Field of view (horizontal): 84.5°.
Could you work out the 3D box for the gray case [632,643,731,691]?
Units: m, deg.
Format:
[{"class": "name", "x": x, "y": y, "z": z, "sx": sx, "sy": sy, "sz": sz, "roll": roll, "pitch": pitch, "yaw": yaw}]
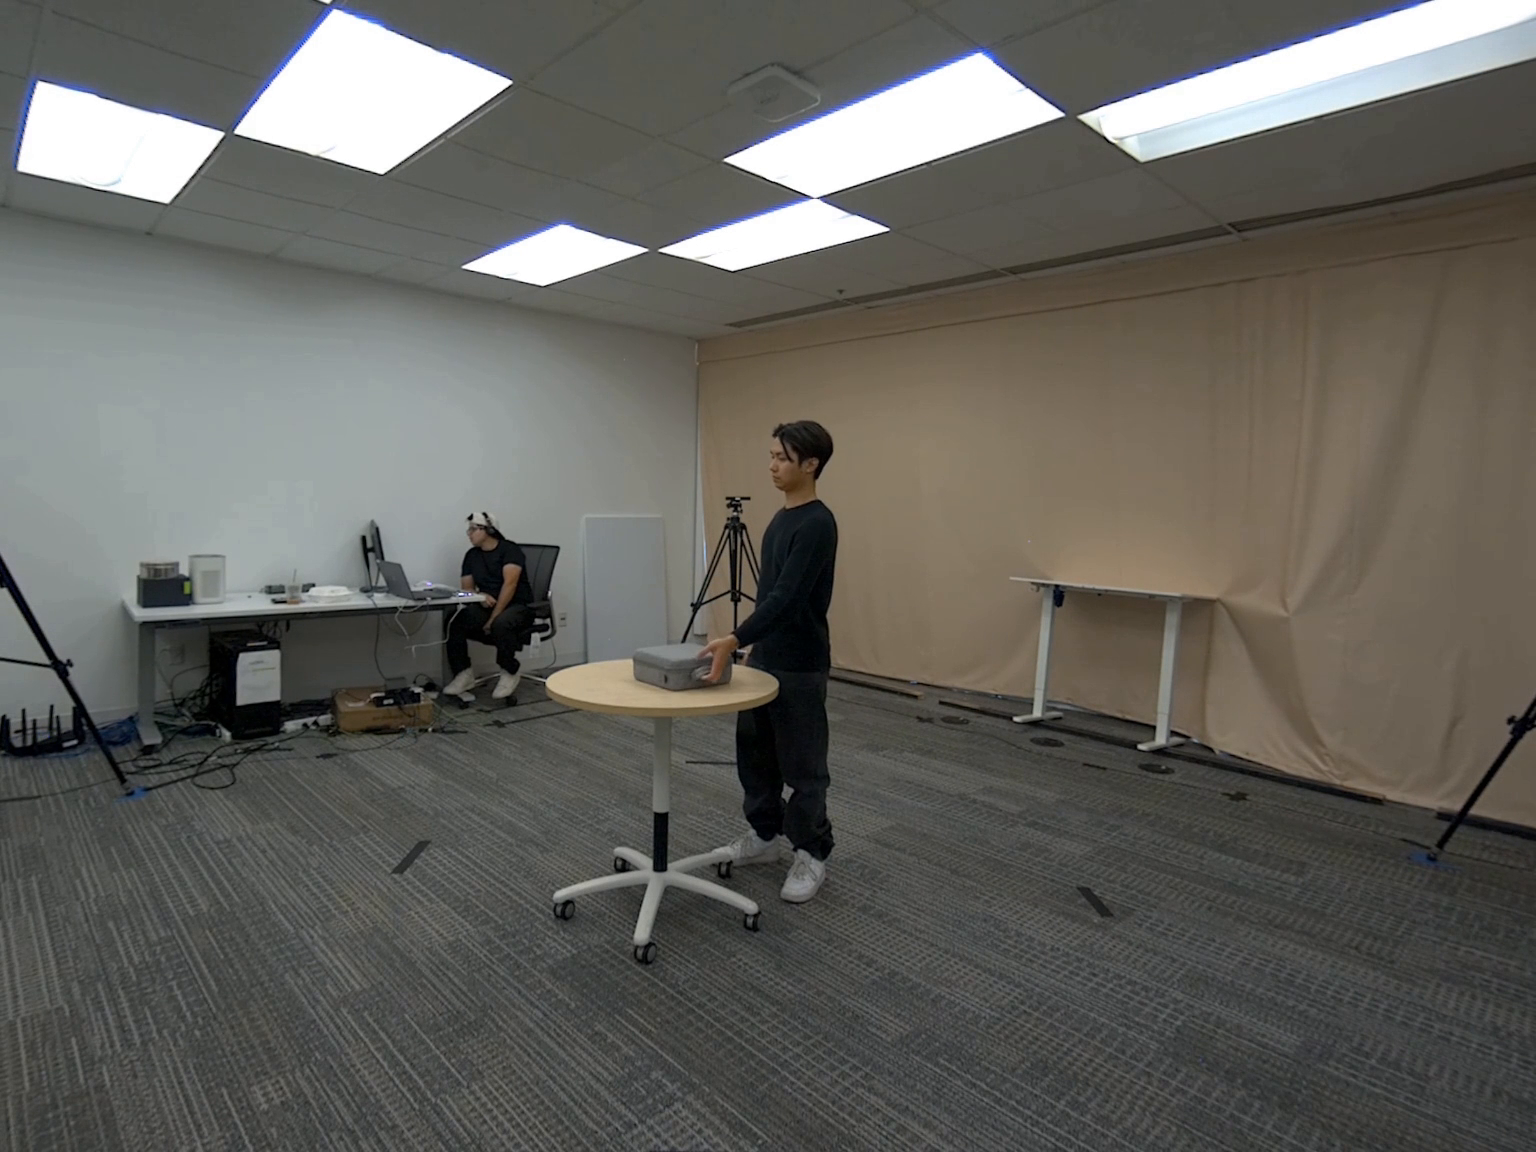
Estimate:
[{"class": "gray case", "x": -0.282, "y": 0.293, "z": 2.787, "sx": 0.251, "sy": 0.104, "sz": 0.267, "roll": -3, "pitch": 7, "yaw": -39}]
